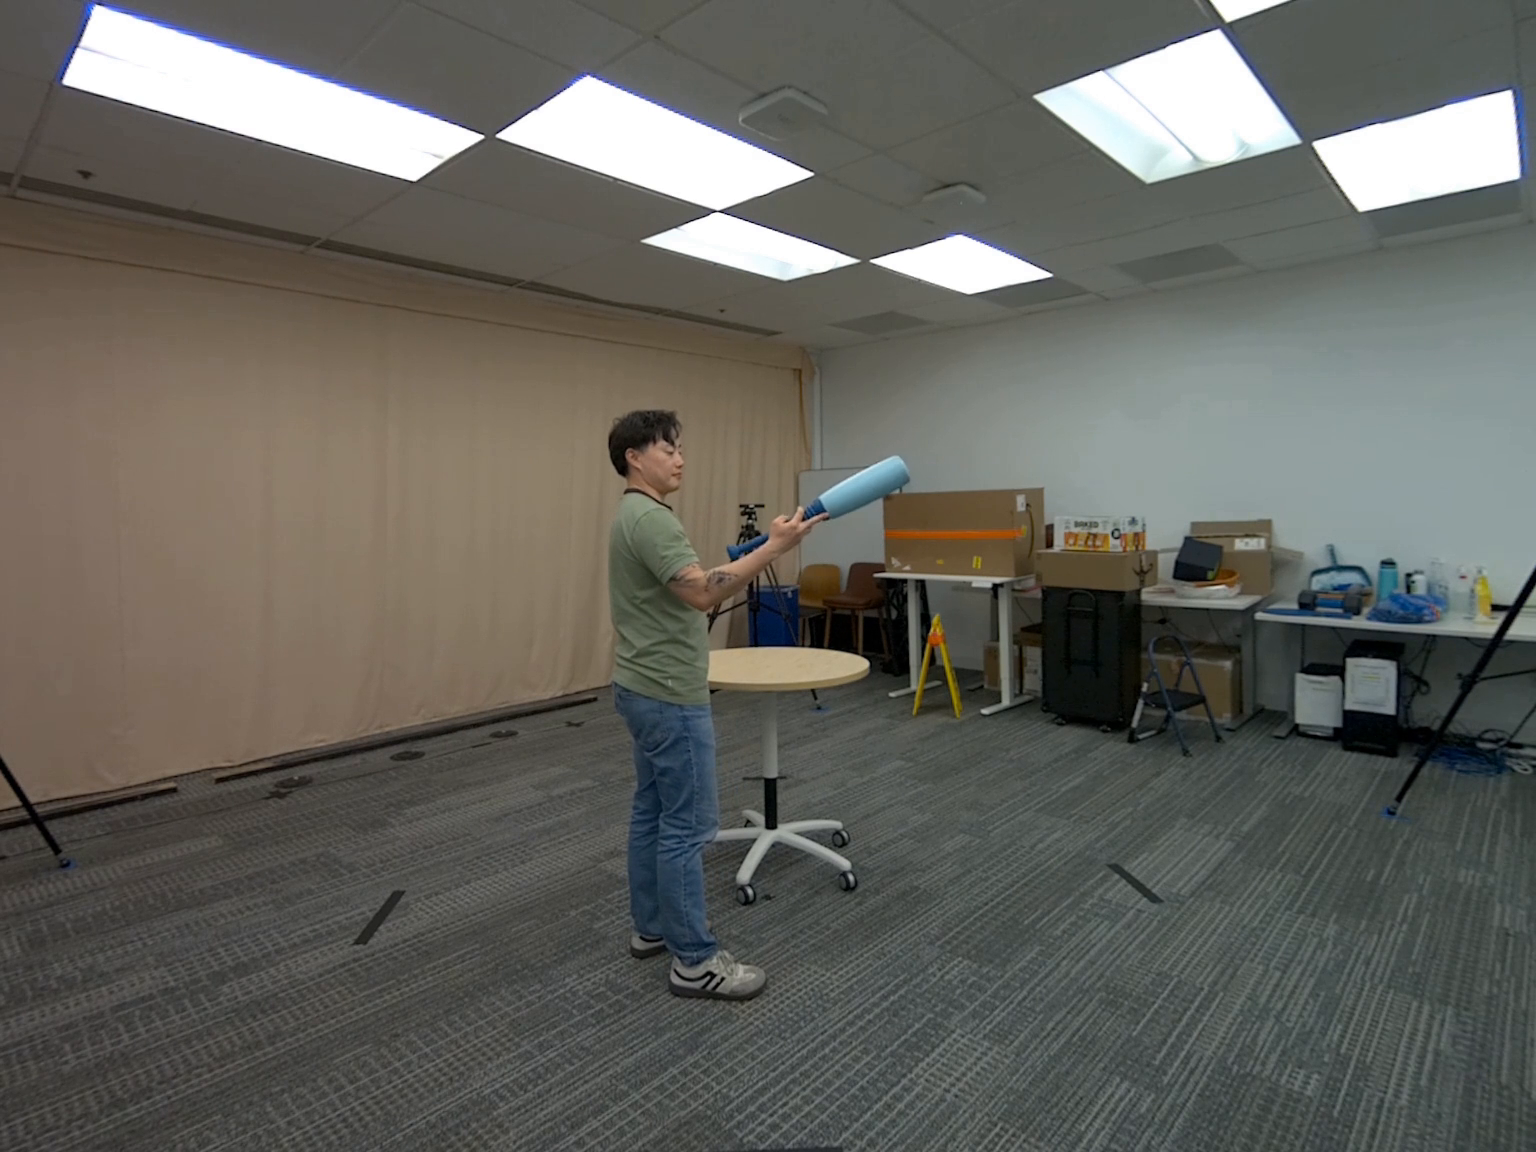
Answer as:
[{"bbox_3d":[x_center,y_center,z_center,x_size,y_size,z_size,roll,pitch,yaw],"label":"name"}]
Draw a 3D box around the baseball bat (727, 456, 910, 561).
[{"bbox_3d":[0.146,-0.173,2.320,0.545,0.089,0.089,-26,3,4],"label":"baseball bat"}]
